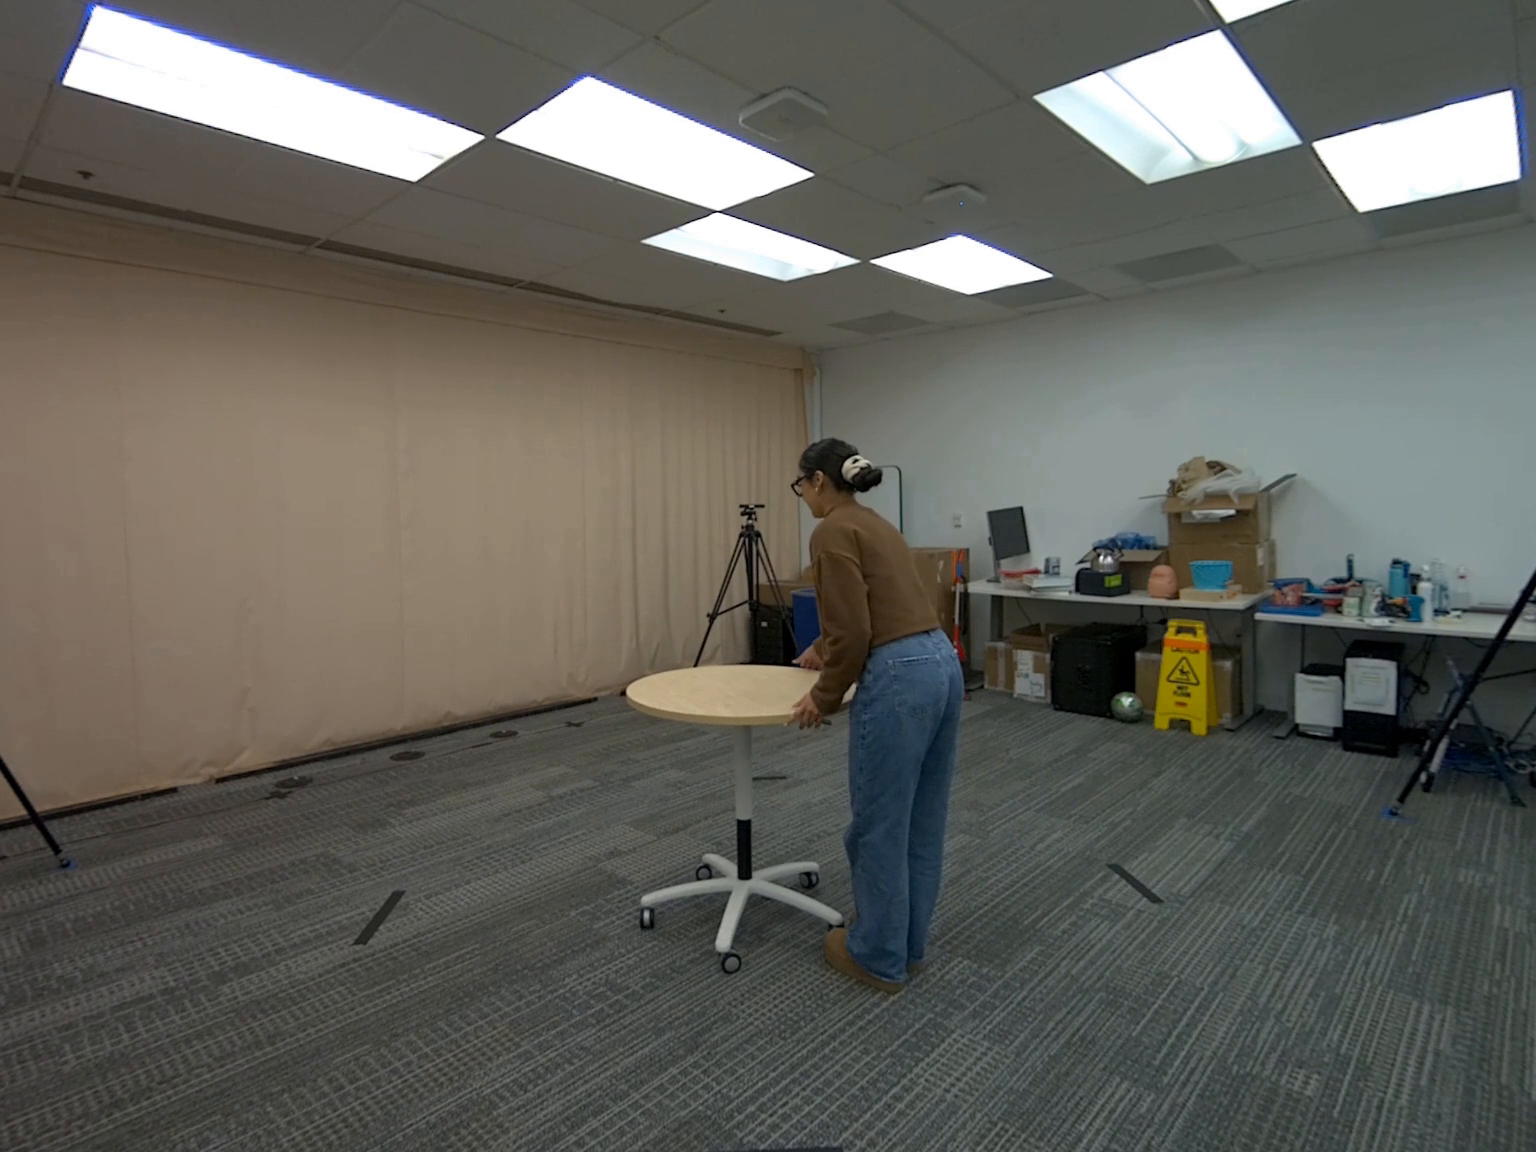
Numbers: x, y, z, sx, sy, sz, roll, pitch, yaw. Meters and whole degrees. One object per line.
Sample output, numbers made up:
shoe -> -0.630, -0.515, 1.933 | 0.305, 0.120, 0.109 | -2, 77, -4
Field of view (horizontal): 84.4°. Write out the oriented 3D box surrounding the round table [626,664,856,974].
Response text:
round table -> -0.086, 0.765, 2.822 | 0.763, 0.792, 0.766 | -1, 4, -2
